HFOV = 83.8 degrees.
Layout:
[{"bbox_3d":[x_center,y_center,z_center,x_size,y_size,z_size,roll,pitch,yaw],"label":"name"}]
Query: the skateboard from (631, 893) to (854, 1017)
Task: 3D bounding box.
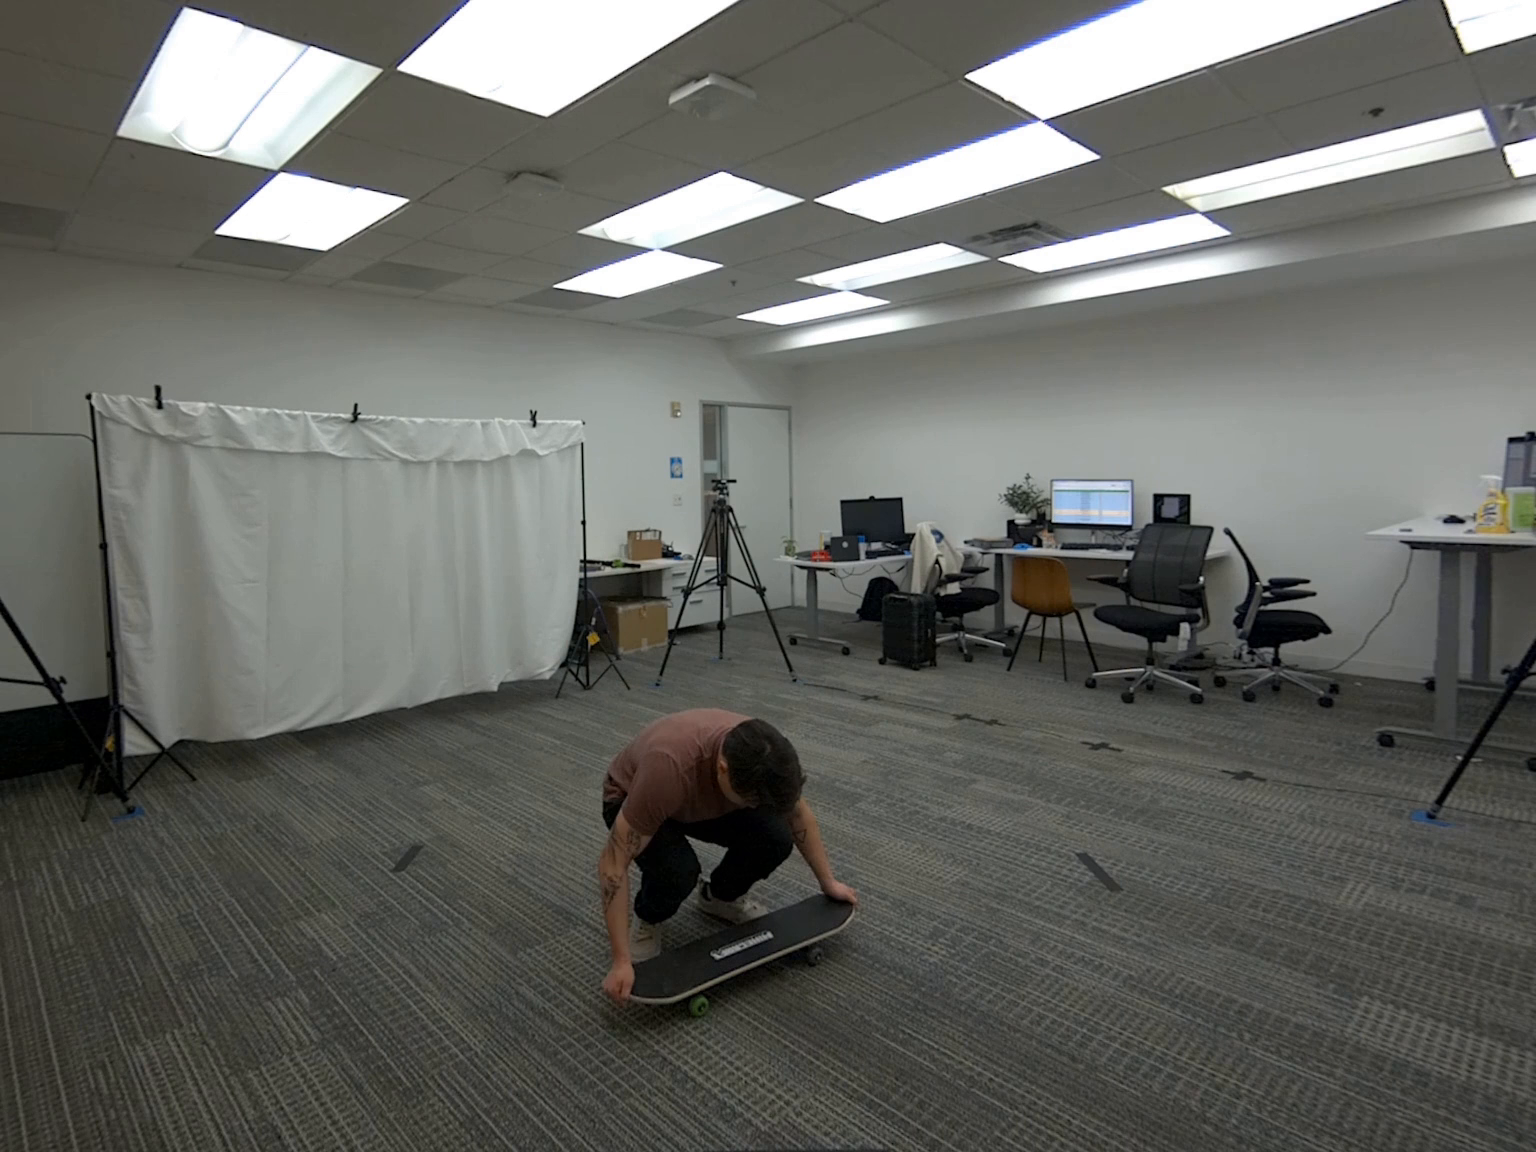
[{"bbox_3d":[-0.075,1.068,2.414,0.766,0.110,0.199,-7,9,-34],"label":"skateboard"}]
